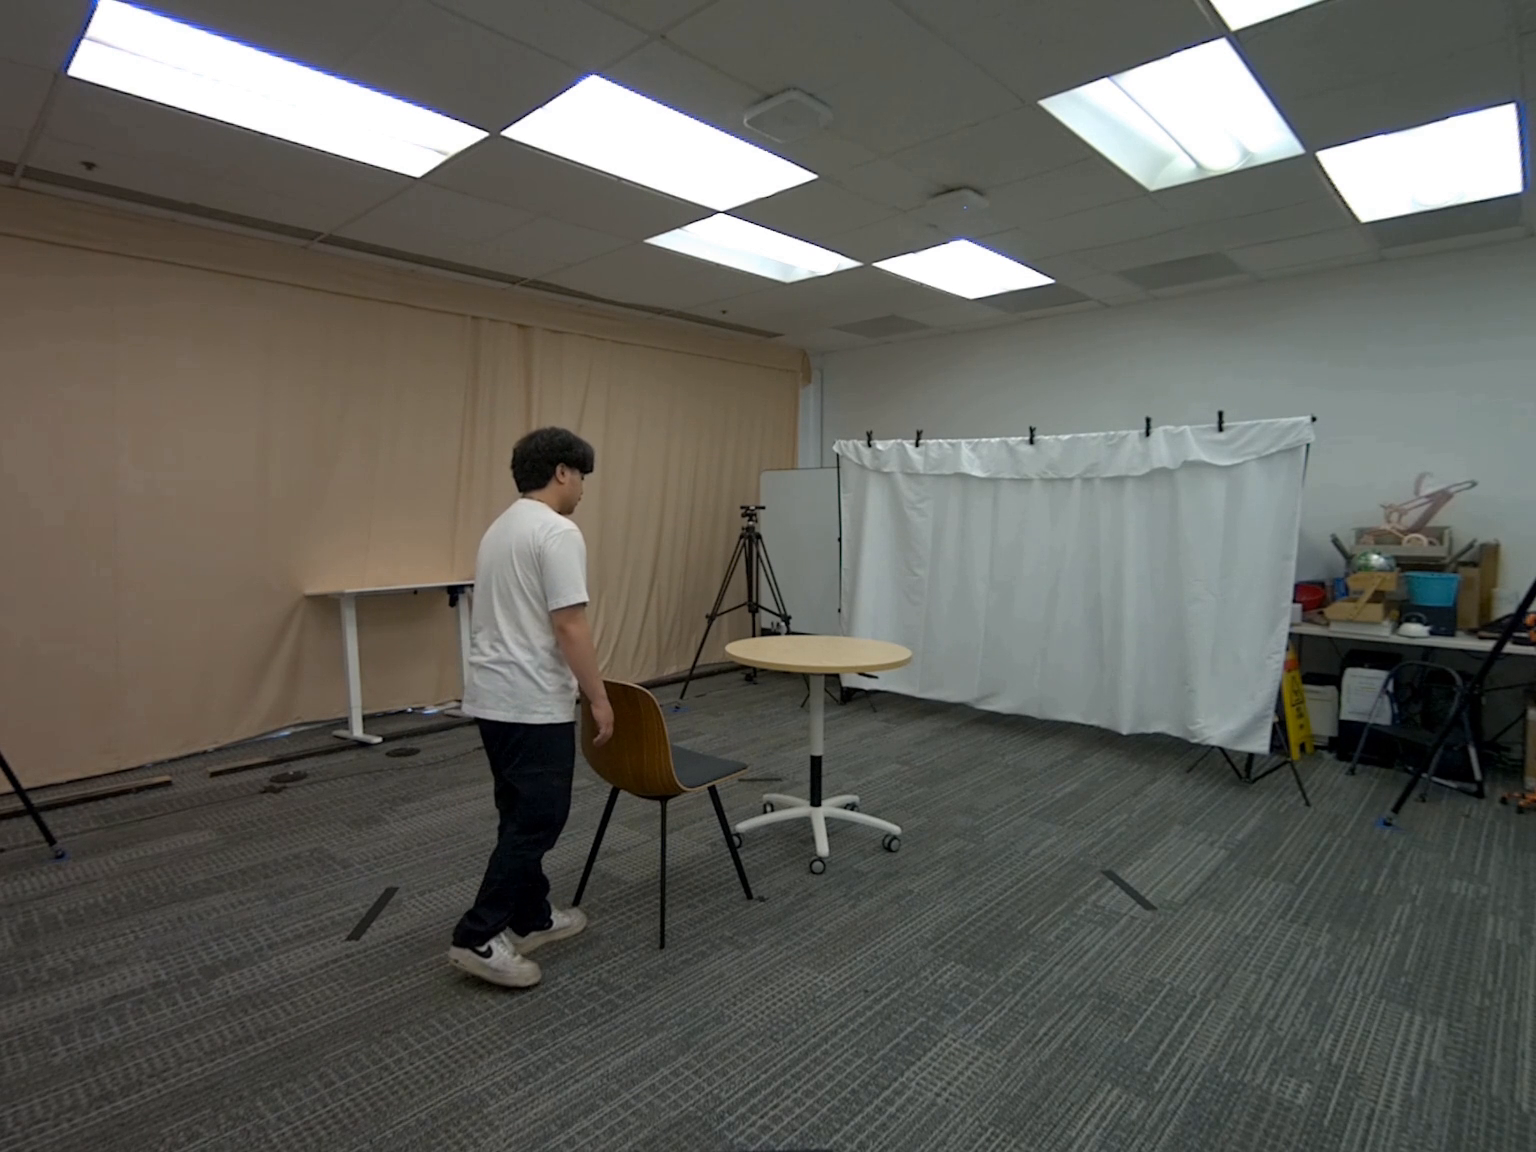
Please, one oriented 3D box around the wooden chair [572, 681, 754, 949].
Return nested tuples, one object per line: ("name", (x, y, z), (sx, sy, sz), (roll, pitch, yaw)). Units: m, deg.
("wooden chair", (-0.364, 0.721, 2.937), (0.494, 0.873, 0.509), (2, 8, 40))
